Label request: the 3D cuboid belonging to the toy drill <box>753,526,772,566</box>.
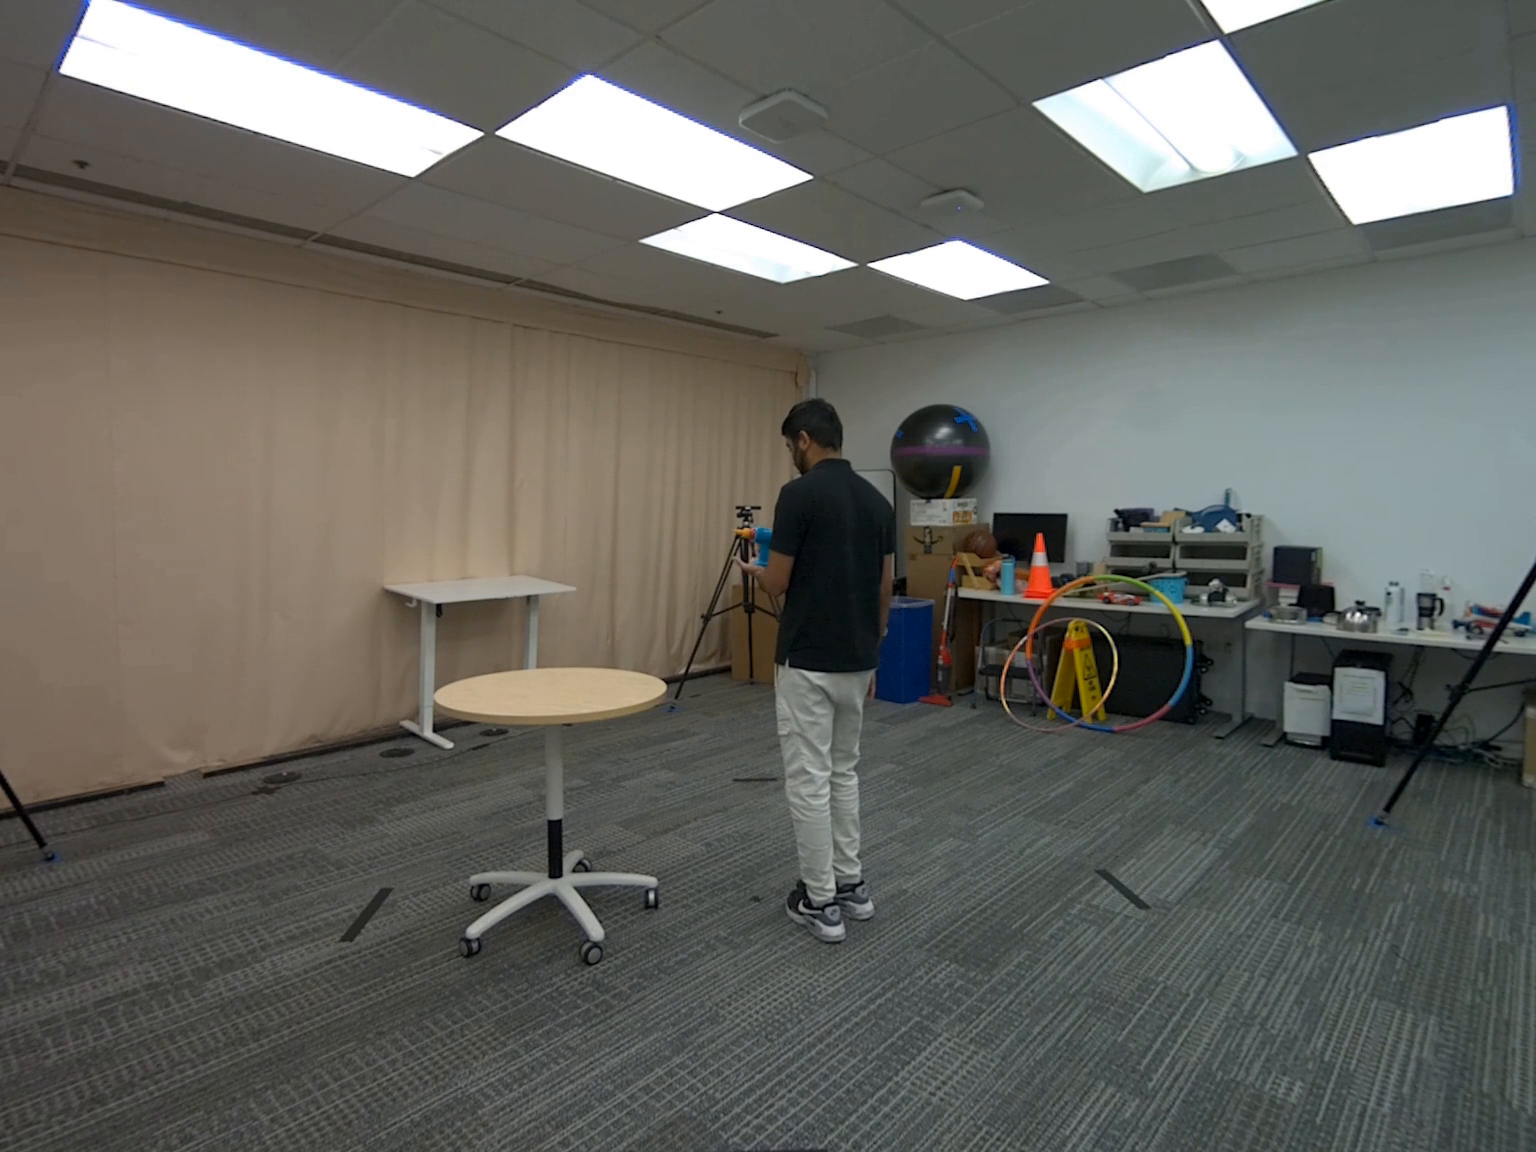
[{"bbox_3d":[-0.057,-0.109,2.963,0.166,0.145,0.063,10,24,-19],"label":"toy drill"}]
